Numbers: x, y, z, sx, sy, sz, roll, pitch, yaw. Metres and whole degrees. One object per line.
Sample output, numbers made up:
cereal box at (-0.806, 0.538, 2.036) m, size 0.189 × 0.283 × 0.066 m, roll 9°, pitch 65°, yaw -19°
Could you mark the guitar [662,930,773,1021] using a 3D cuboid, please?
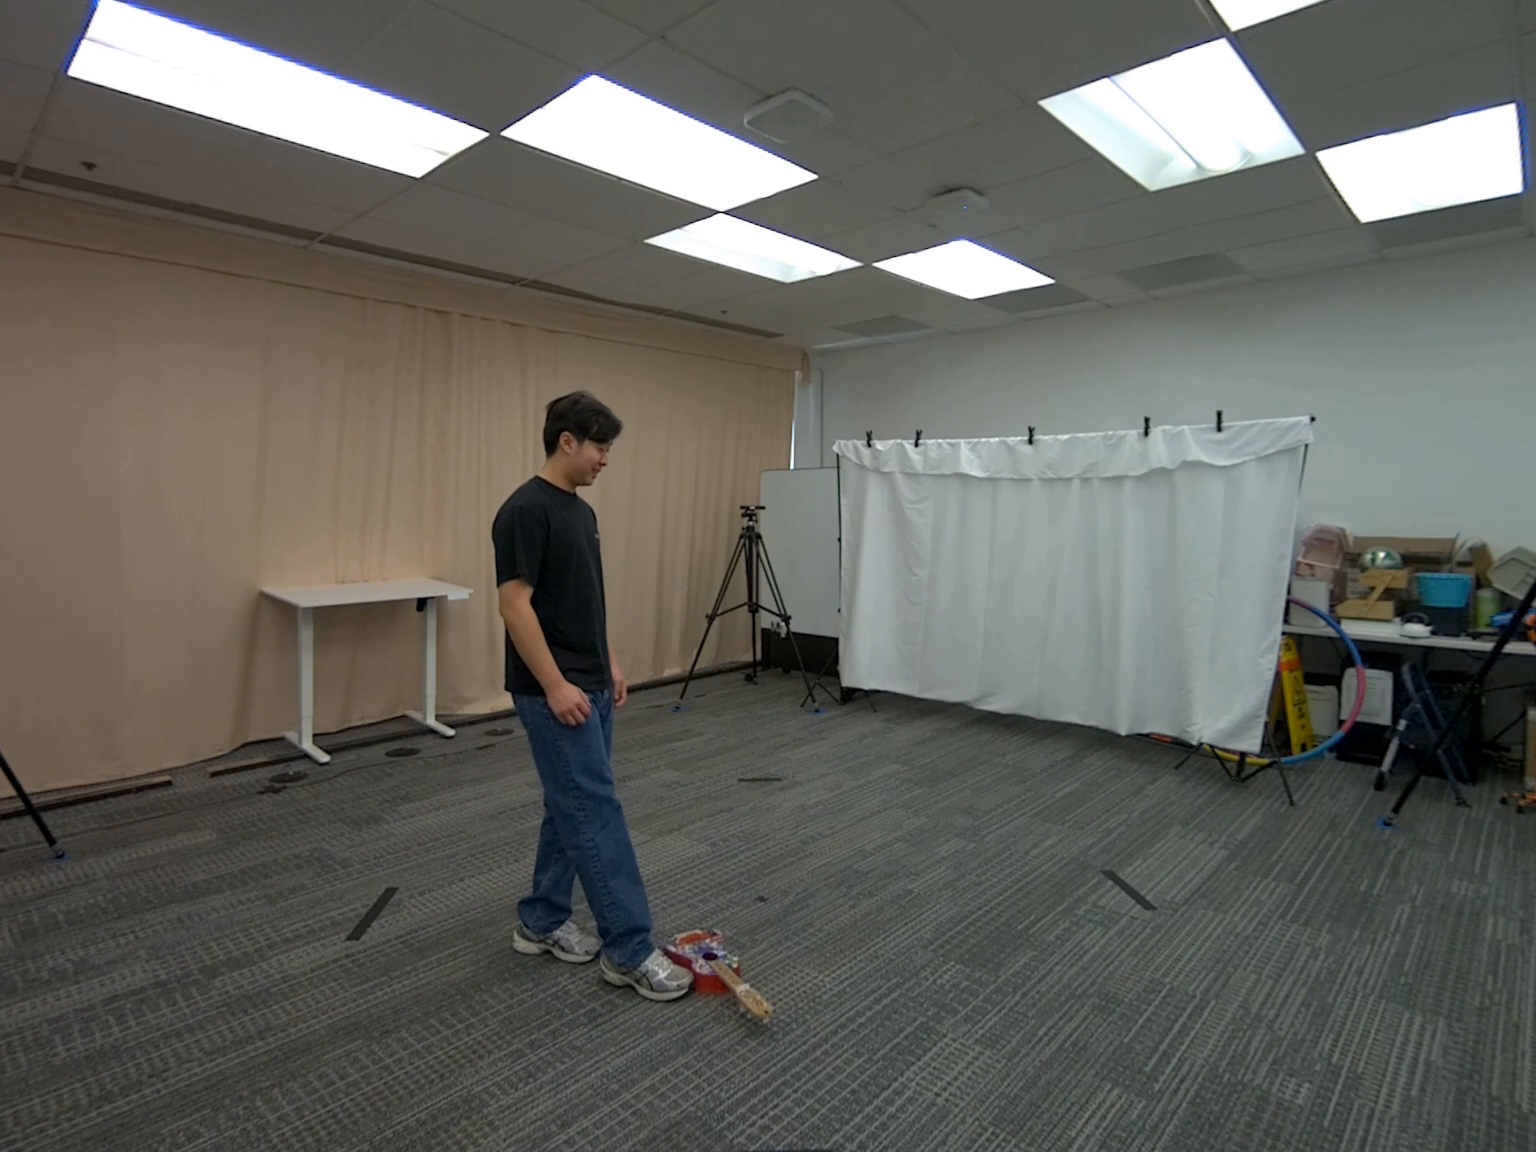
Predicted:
guitar at (-0.156, 1.162, 2.413) m, size 0.189 × 0.070 × 0.509 m, roll -2°, pitch 4°, yaw -21°
